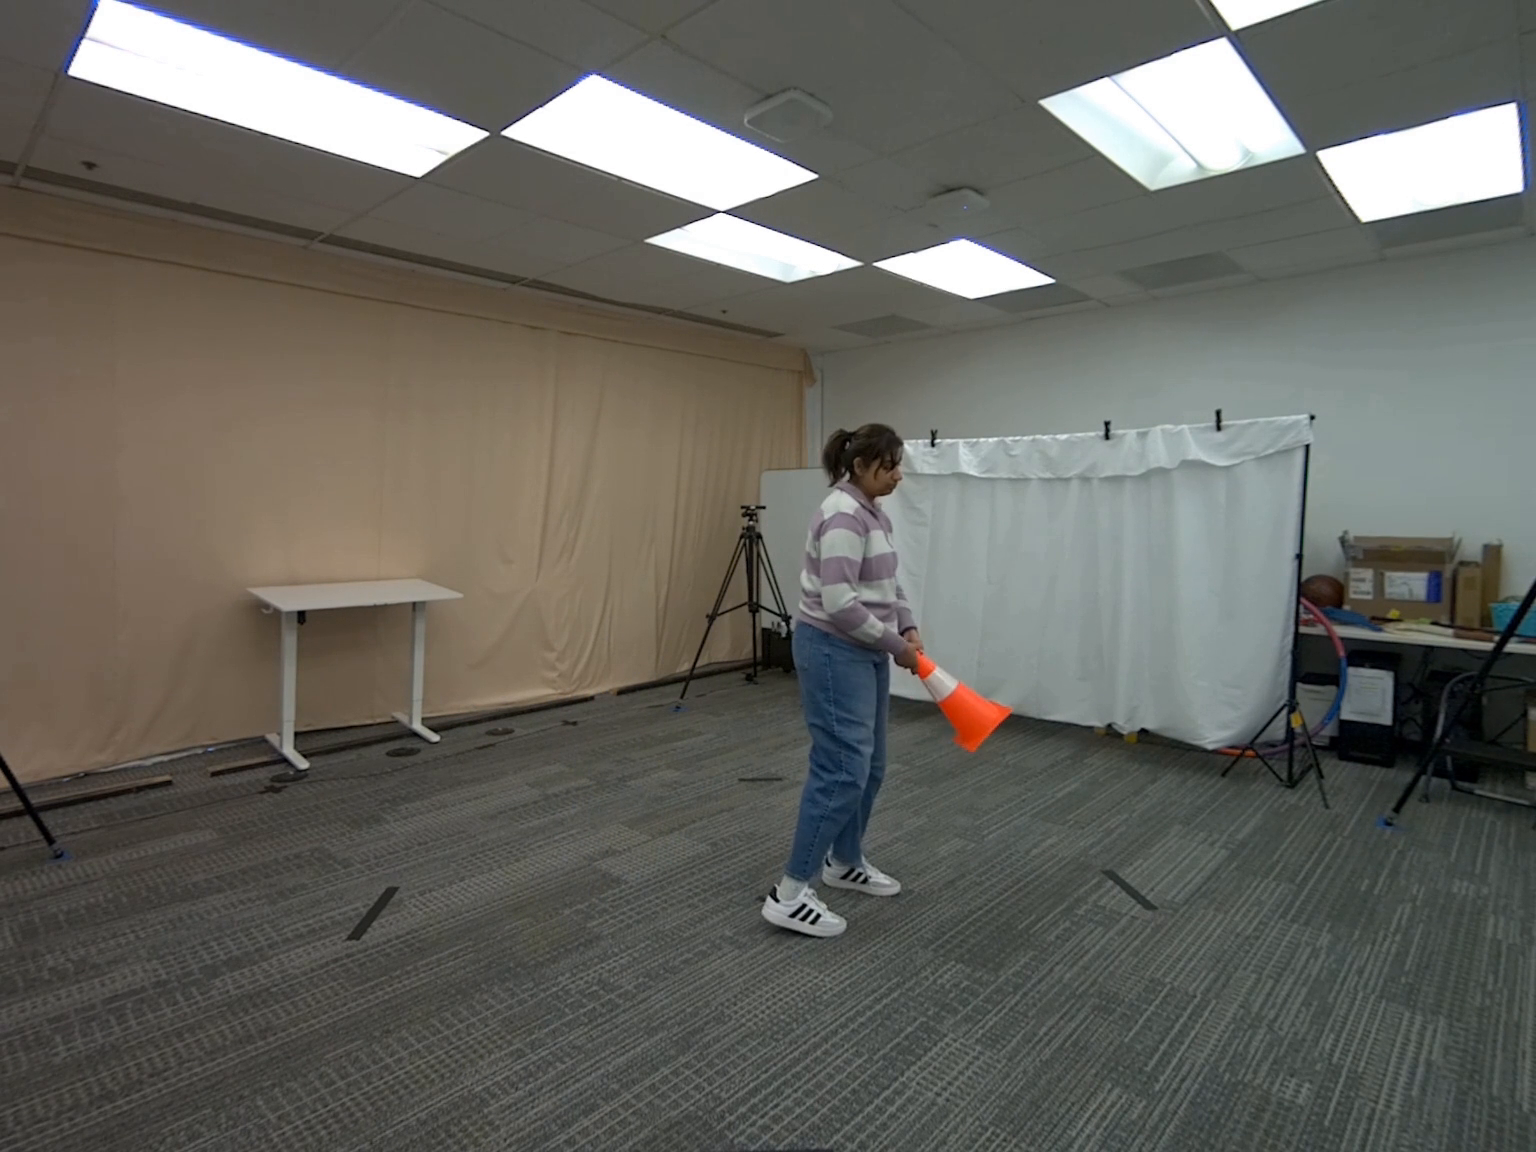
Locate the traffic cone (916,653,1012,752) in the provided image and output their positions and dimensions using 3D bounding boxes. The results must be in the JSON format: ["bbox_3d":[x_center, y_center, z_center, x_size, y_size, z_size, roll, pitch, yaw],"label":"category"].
[{"bbox_3d":[0.589,0.378,2.848,0.203,0.385,0.205,-45,-2,-3],"label":"traffic cone"}]
